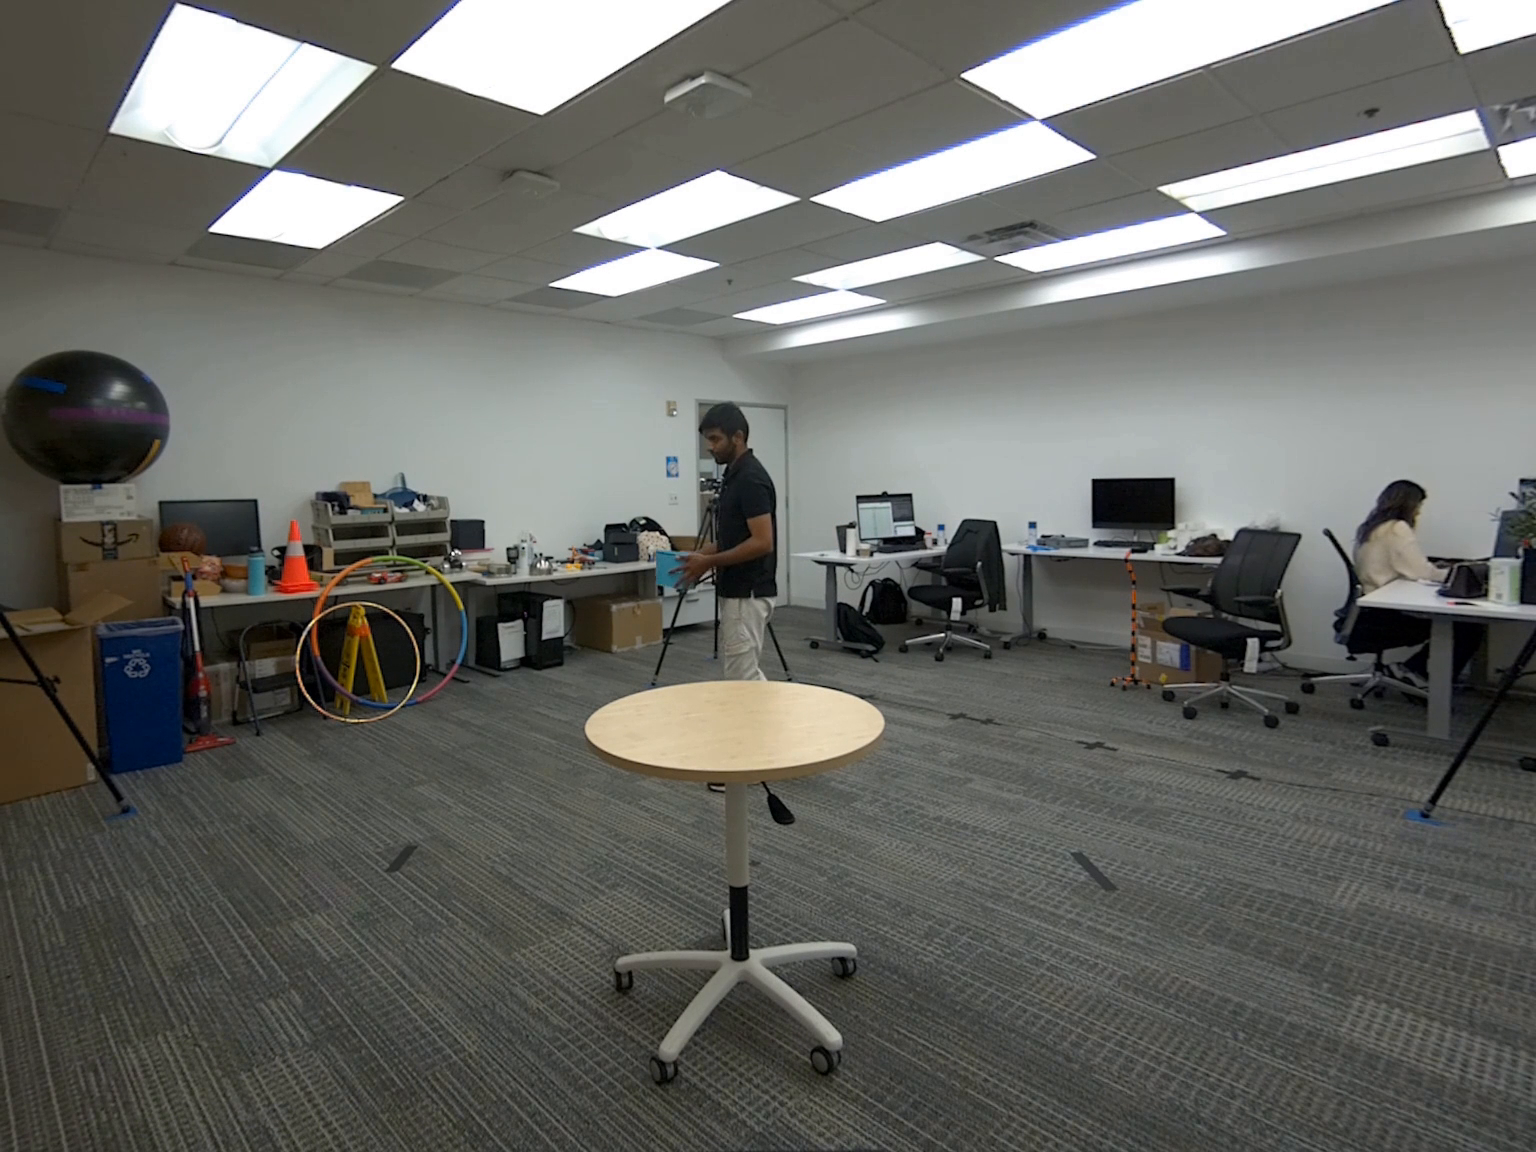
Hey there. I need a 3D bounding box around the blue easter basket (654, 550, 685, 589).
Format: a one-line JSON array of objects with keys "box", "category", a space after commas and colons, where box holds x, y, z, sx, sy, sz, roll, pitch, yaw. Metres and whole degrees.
[{"box": [-0.387, -0.032, 3.863, 0.243, 0.155, 0.244, 6, 3, -2], "category": "blue easter basket"}]
